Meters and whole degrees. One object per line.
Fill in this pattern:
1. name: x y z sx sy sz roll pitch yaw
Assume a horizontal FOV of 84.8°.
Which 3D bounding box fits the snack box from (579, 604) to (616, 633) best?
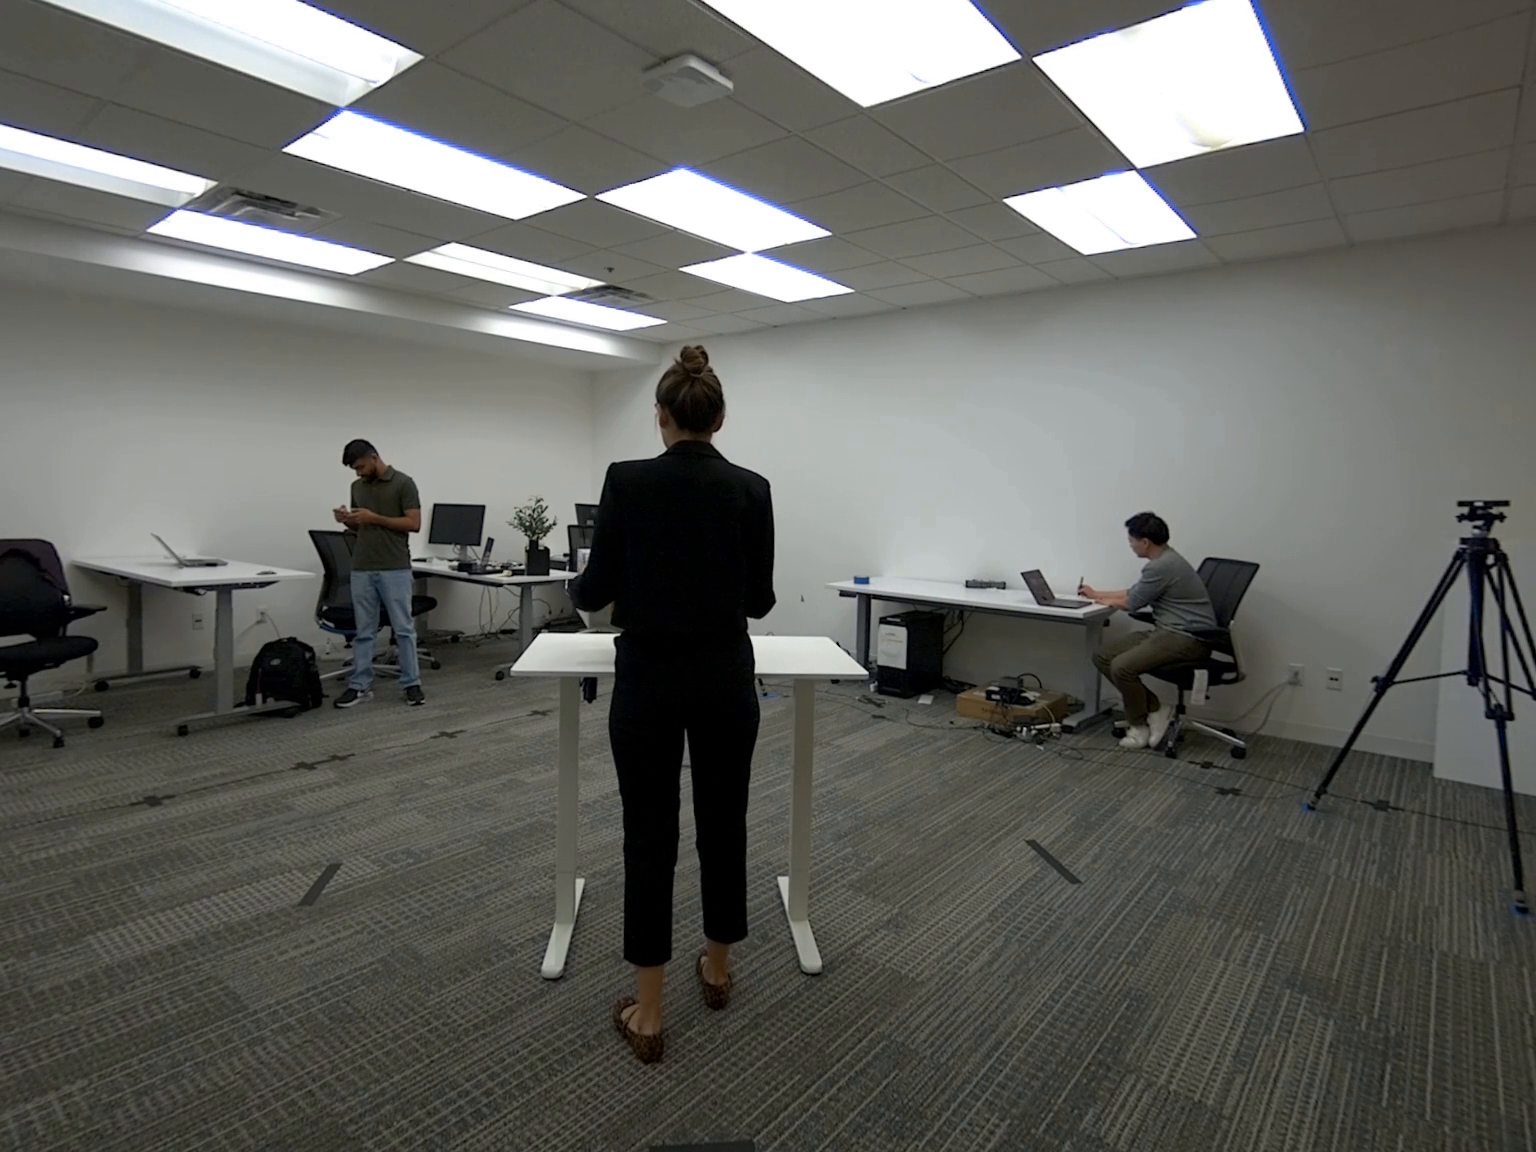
1. snack box: -0.375 0.038 2.609 0.398 0.205 0.348 0 6 -17
